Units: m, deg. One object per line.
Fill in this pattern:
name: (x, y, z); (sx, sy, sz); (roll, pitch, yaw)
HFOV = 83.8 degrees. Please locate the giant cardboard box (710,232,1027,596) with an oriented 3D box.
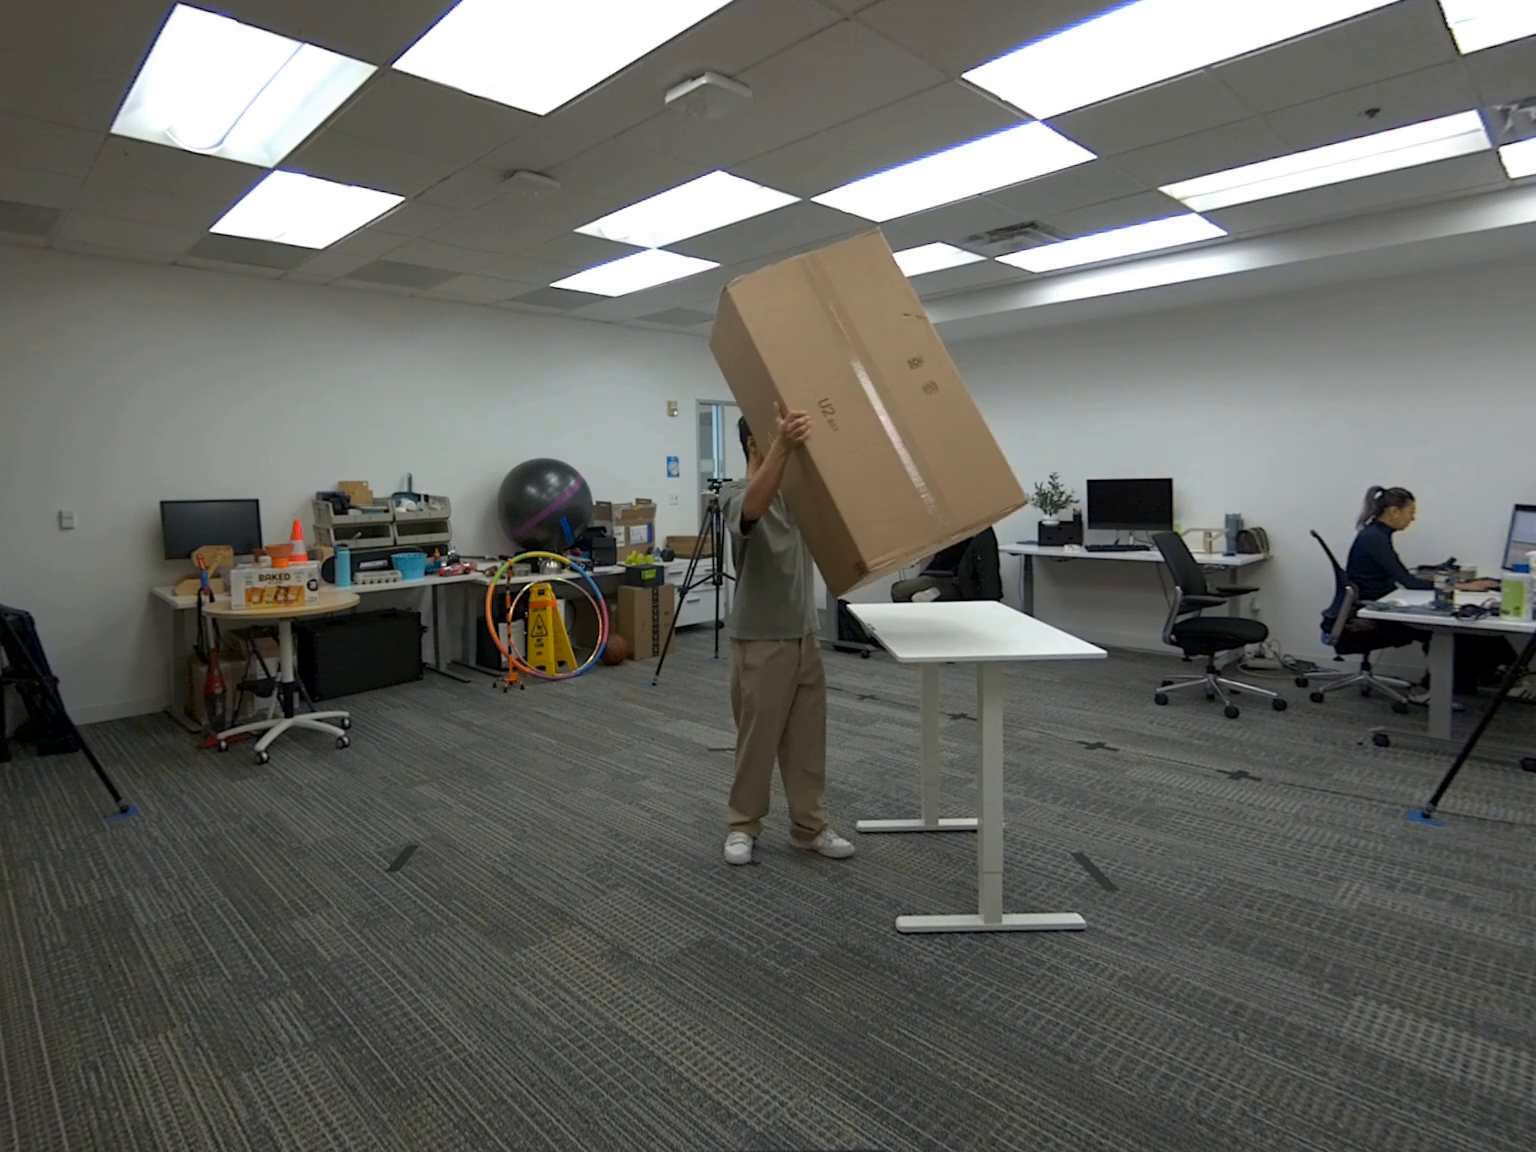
giant cardboard box: (0.292, -0.522, 2.852); (0.573, 1.039, 0.424); (-23, -10, -13)
